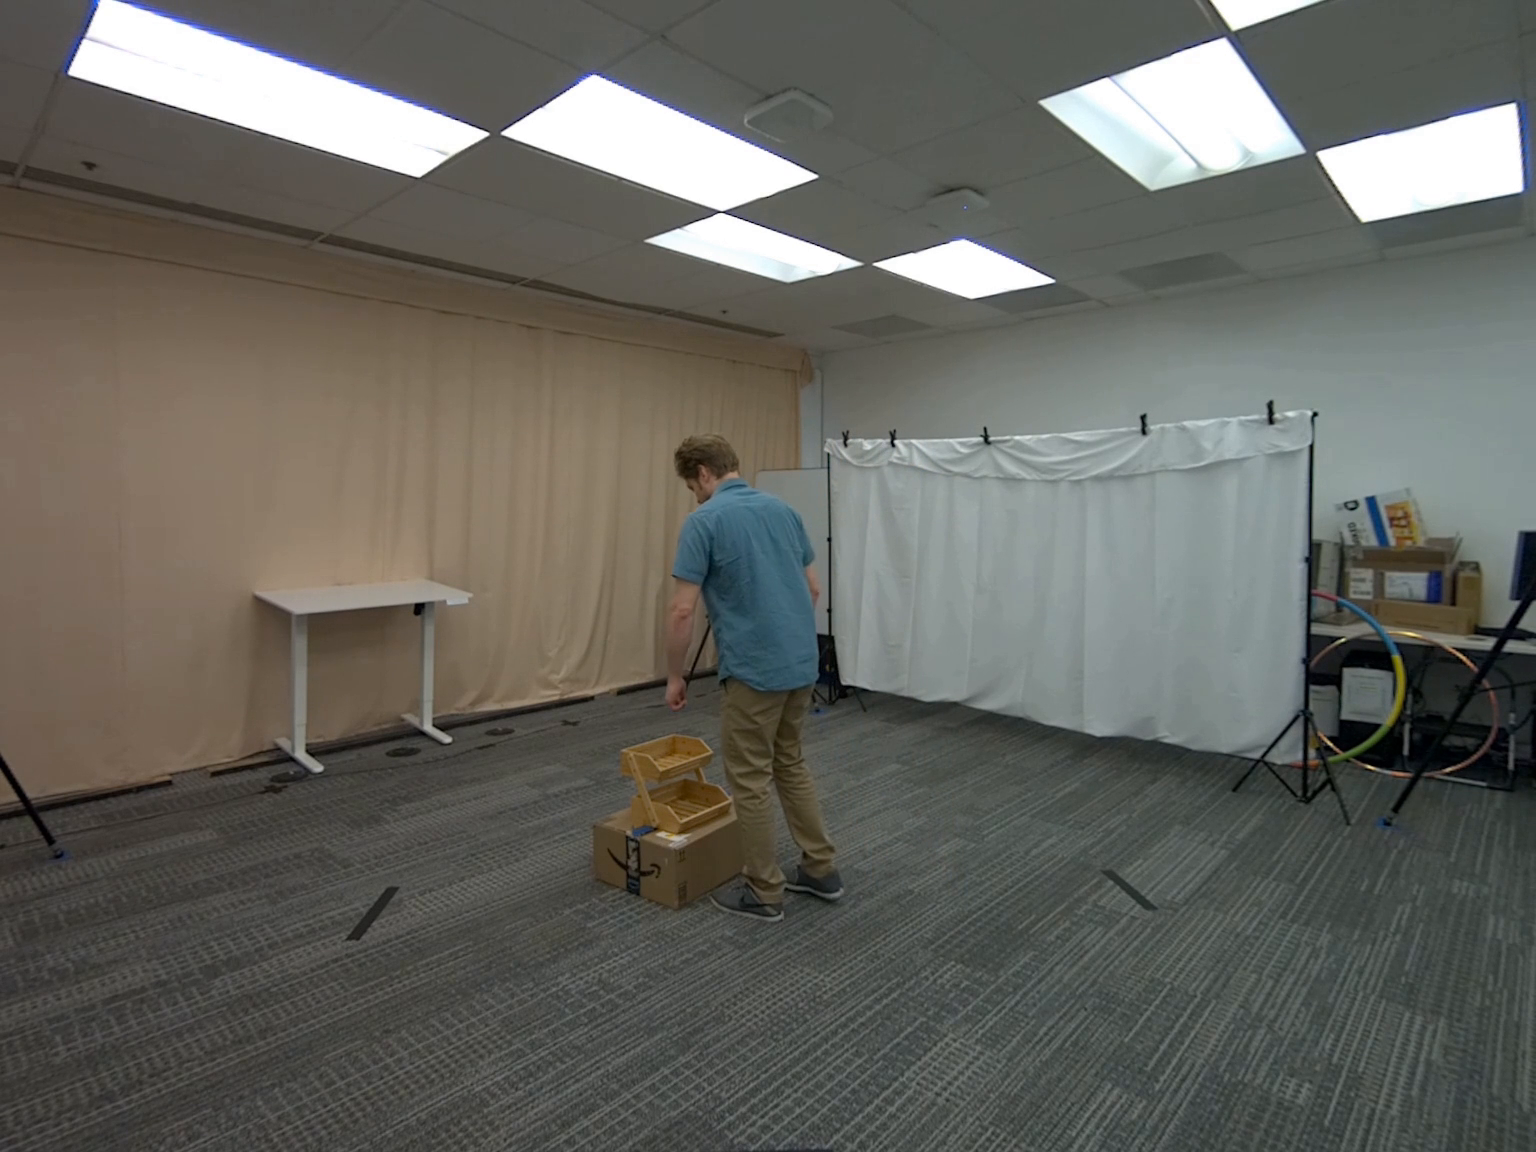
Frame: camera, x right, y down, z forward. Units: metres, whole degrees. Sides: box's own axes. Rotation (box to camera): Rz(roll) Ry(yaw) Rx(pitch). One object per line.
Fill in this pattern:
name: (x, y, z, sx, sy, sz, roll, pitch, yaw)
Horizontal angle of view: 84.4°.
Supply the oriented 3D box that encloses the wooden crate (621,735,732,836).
wooden crate: (-0.347, 0.782, 3.215, 0.311, 0.273, 0.315, 1, 3, 38)
